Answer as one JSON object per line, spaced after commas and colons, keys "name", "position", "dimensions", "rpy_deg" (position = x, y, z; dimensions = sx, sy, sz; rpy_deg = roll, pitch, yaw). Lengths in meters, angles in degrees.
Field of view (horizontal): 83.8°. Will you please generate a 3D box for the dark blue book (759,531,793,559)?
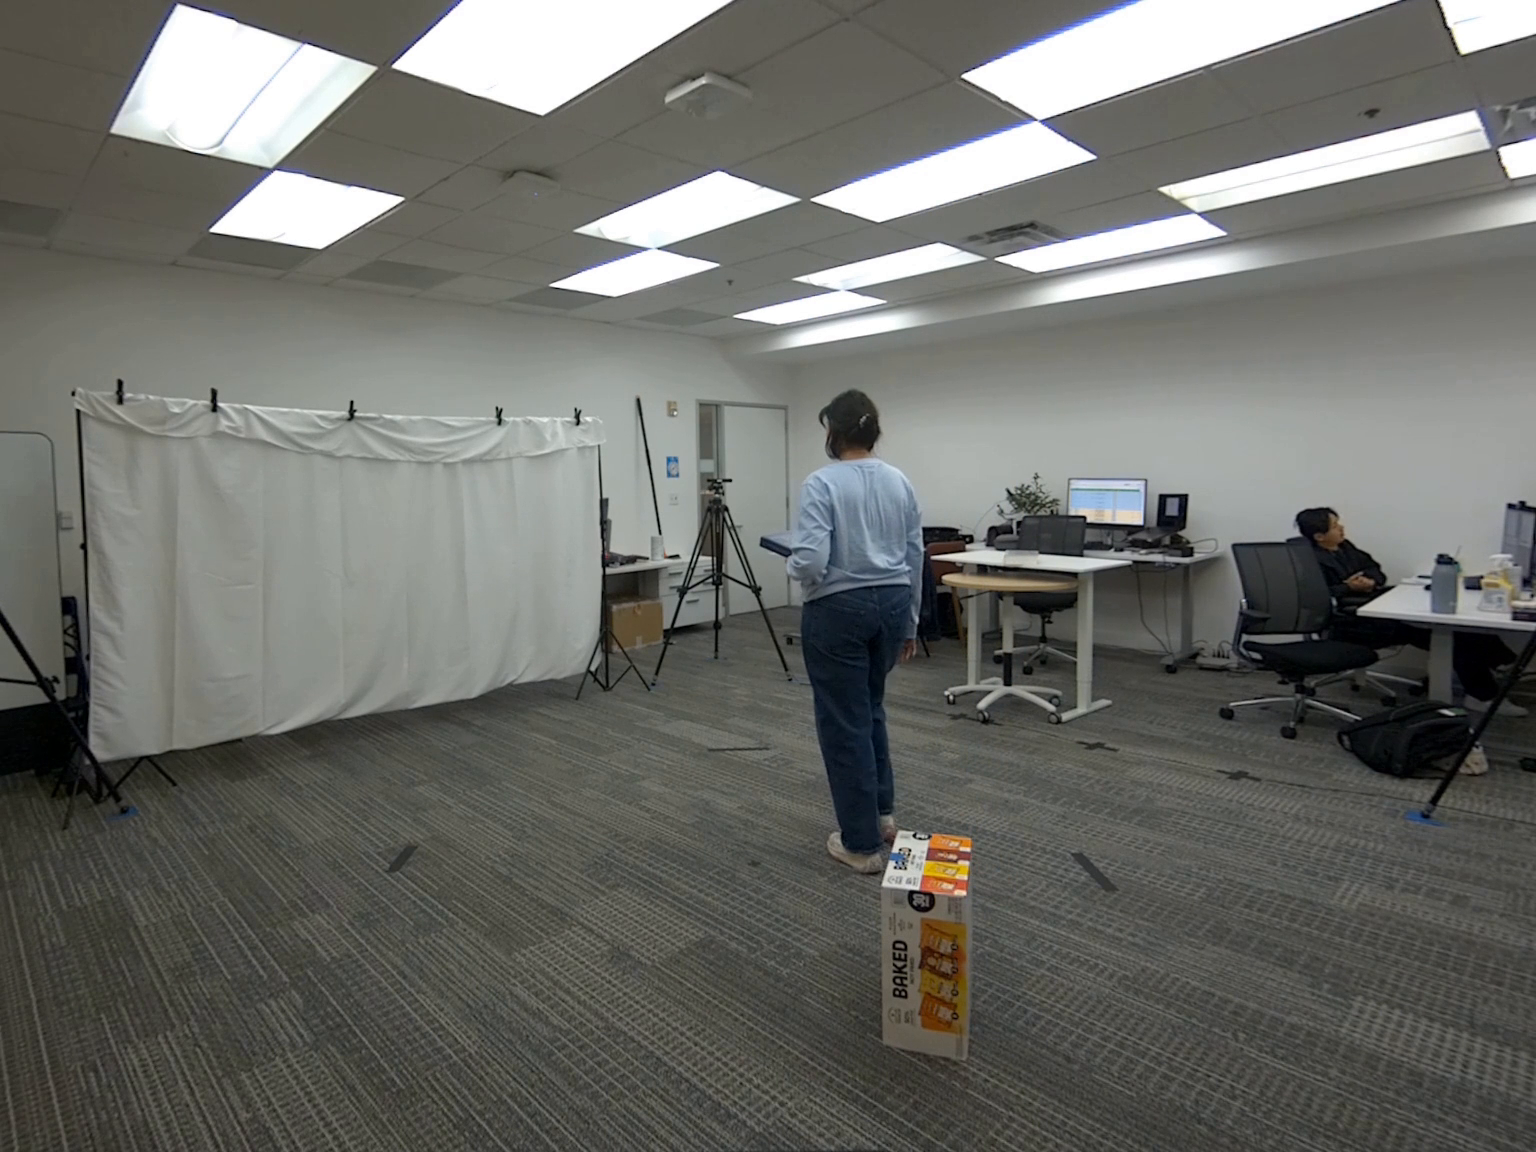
{"name": "dark blue book", "position": [0.113, -0.119, 3.355], "dimensions": [0.254, 0.044, 0.160], "rpy_deg": [22, 24, 39]}
